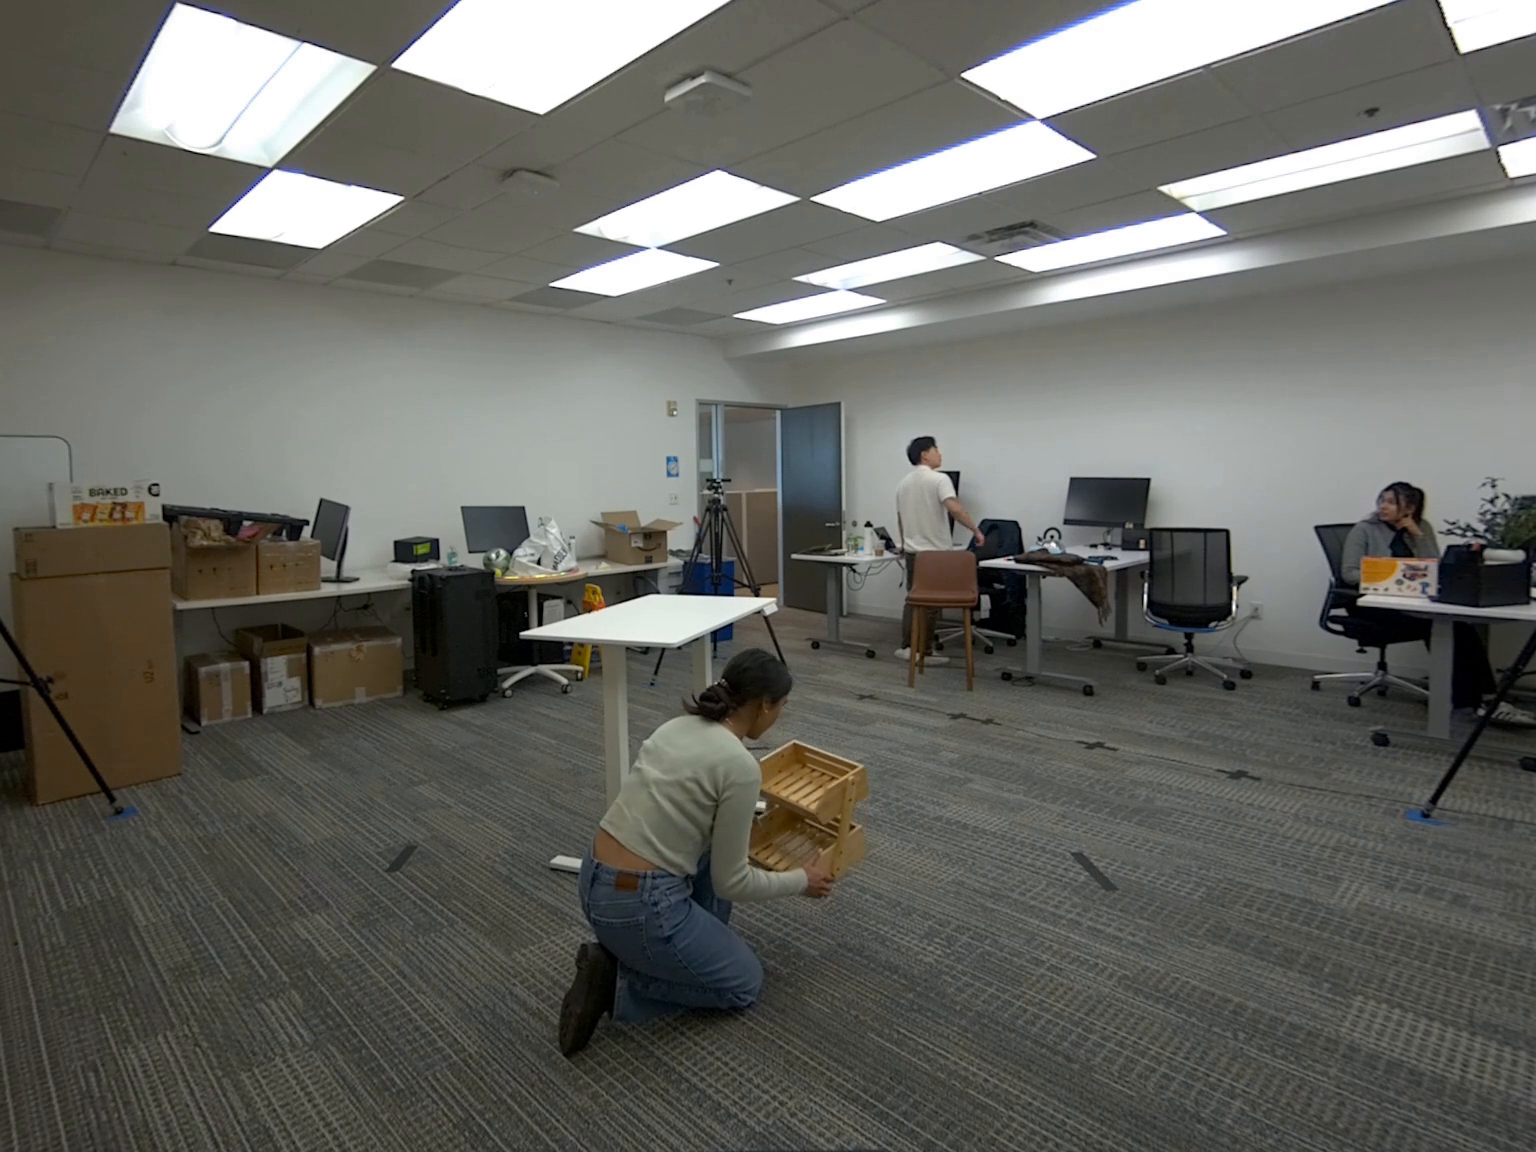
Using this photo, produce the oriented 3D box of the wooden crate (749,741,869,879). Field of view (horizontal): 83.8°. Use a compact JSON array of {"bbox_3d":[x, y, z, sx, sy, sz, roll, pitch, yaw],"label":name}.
[{"bbox_3d":[0.099,0.697,2.504,0.297,0.269,0.334,-21,17,-36],"label":"wooden crate"}]
